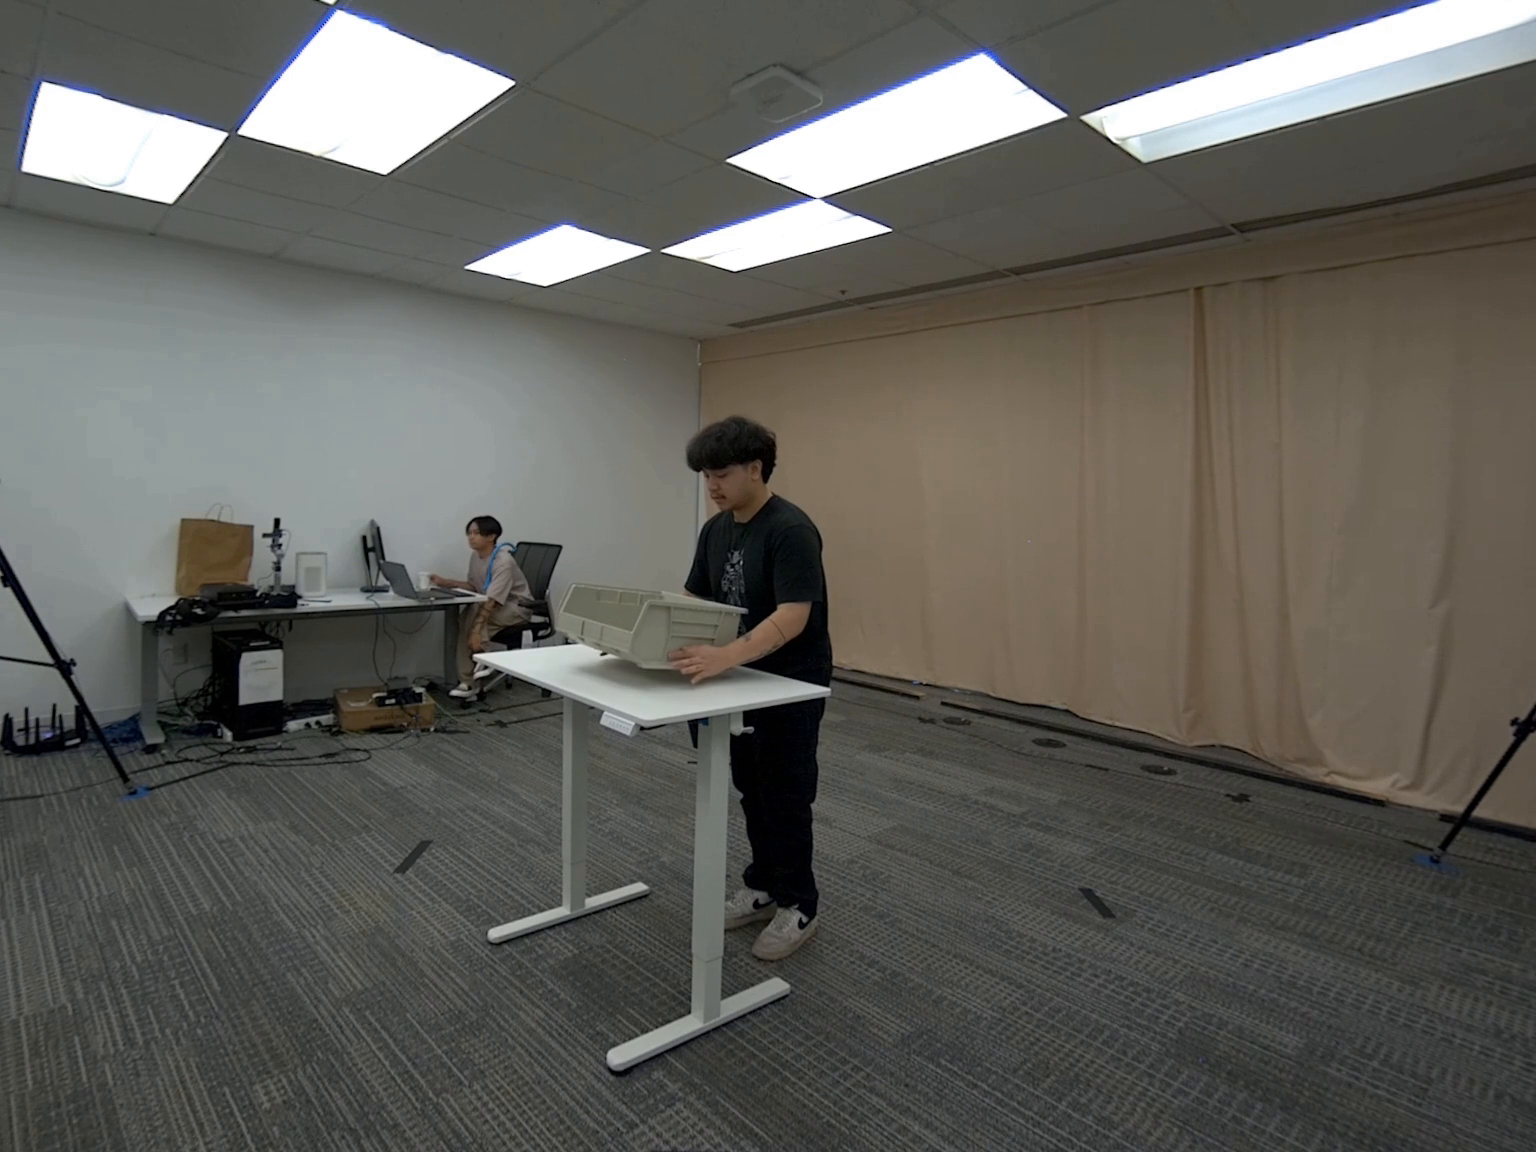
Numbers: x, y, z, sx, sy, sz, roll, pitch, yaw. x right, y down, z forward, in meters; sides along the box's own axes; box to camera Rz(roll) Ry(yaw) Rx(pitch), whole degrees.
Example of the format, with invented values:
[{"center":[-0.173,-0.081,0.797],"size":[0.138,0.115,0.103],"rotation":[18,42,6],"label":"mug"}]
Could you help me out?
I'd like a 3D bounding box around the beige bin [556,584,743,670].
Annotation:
[{"center":[-0.363,0.145,2.422],"size":[0.367,0.189,0.433],"rotation":[9,0,-41],"label":"beige bin"}]
